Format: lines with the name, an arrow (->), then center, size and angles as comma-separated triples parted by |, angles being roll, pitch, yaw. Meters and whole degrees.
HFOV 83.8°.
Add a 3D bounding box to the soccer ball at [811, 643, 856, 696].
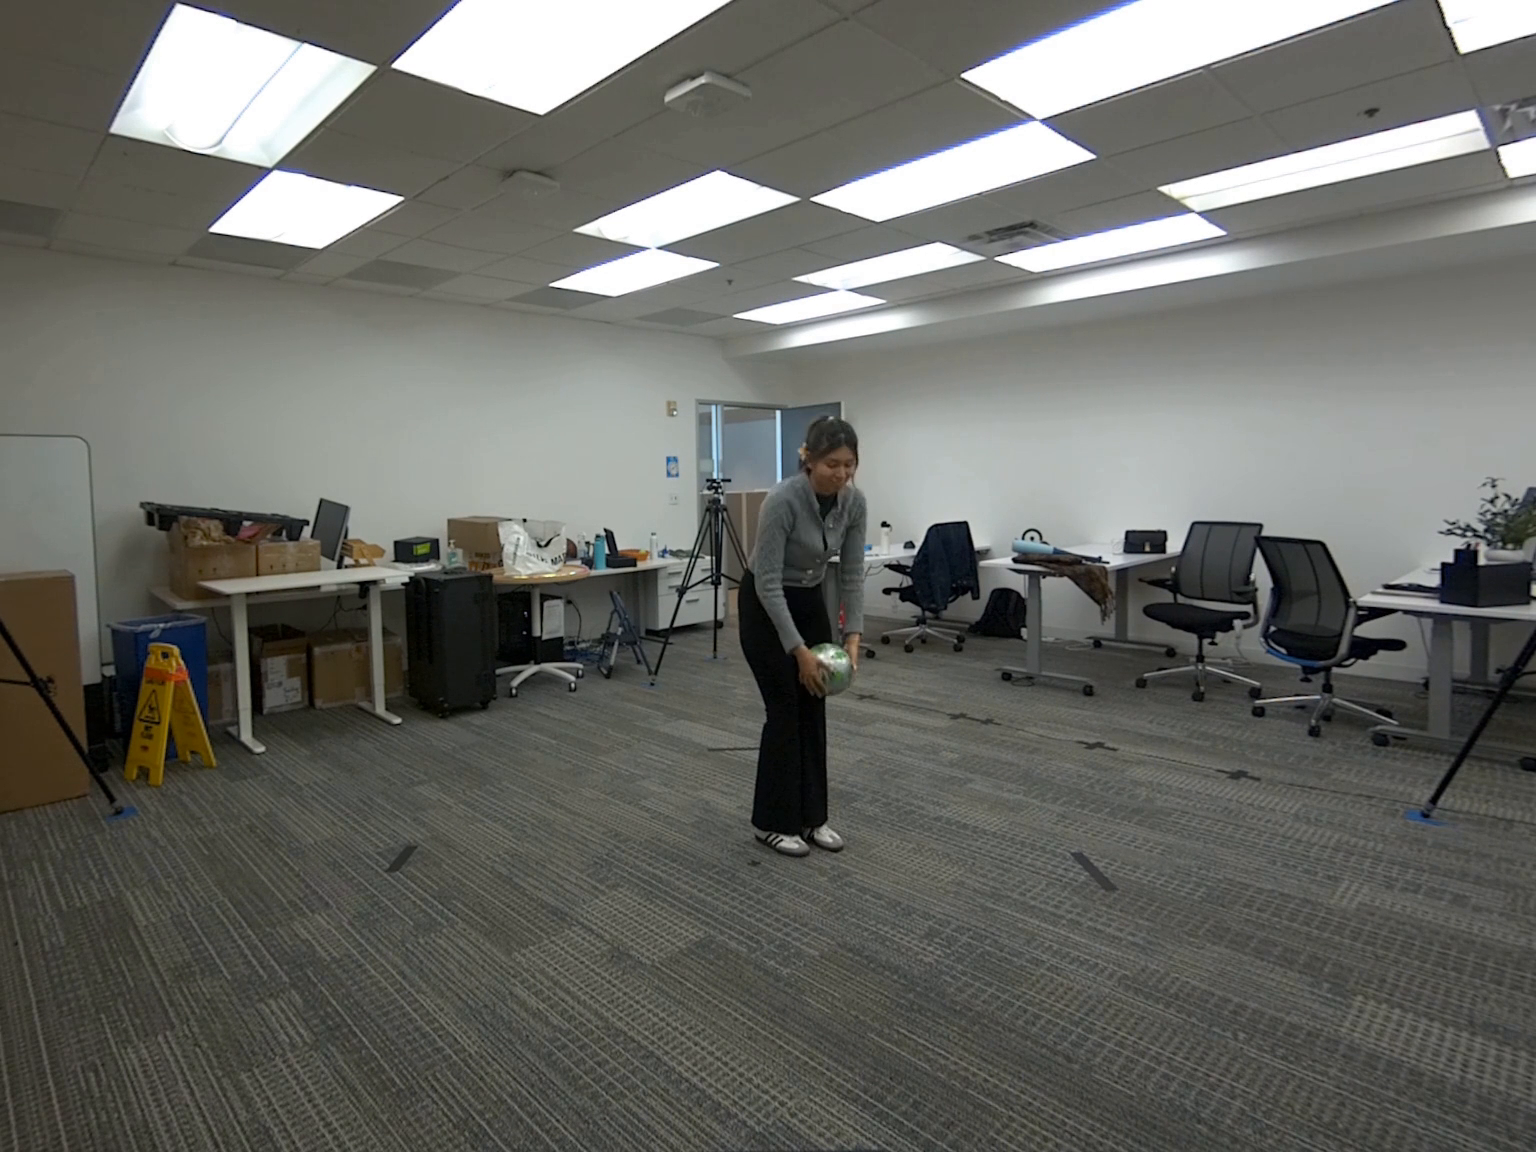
soccer ball -> 0.216, 0.325, 3.046 | 0.187, 0.187, 0.188 | -1, 5, -2
